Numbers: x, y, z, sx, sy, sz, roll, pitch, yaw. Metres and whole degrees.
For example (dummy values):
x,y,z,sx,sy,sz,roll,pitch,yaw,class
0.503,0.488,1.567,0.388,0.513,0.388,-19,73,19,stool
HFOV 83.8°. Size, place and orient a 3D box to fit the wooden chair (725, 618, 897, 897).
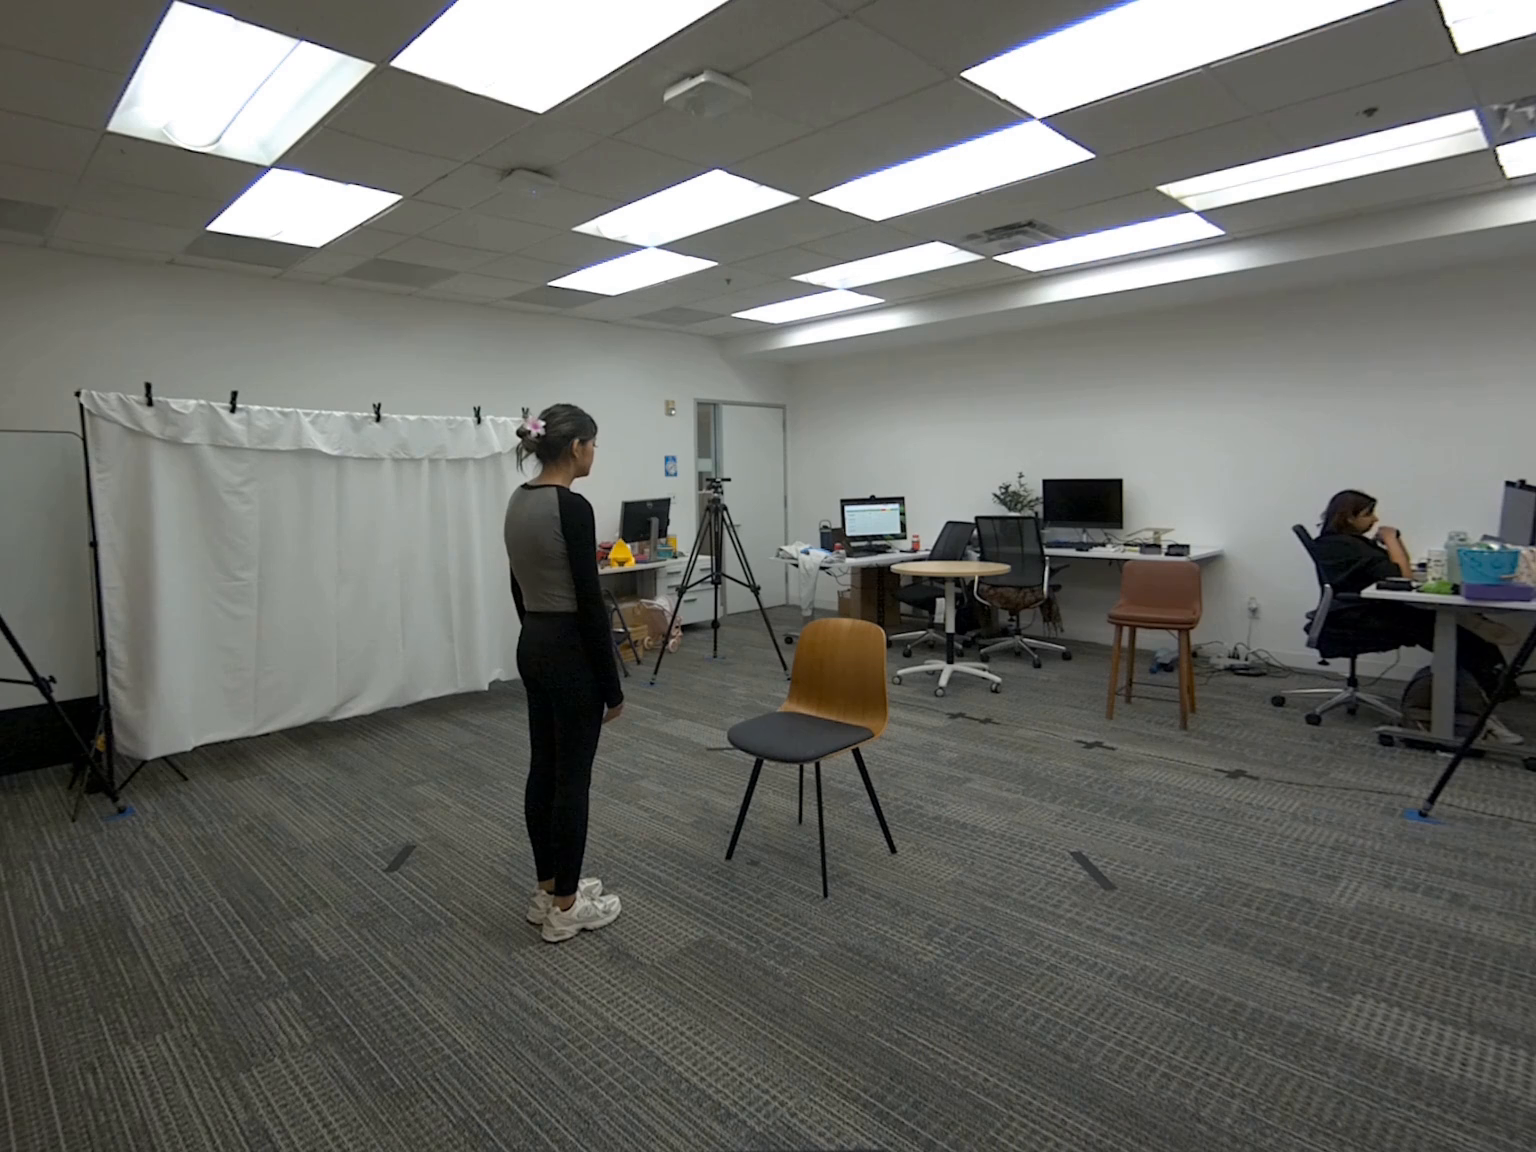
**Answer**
x,y,z,sx,sy,sz,roll,pitch,yaw,class
0.150,0.610,3.110,0.493,0.877,0.508,3,1,41,wooden chair
